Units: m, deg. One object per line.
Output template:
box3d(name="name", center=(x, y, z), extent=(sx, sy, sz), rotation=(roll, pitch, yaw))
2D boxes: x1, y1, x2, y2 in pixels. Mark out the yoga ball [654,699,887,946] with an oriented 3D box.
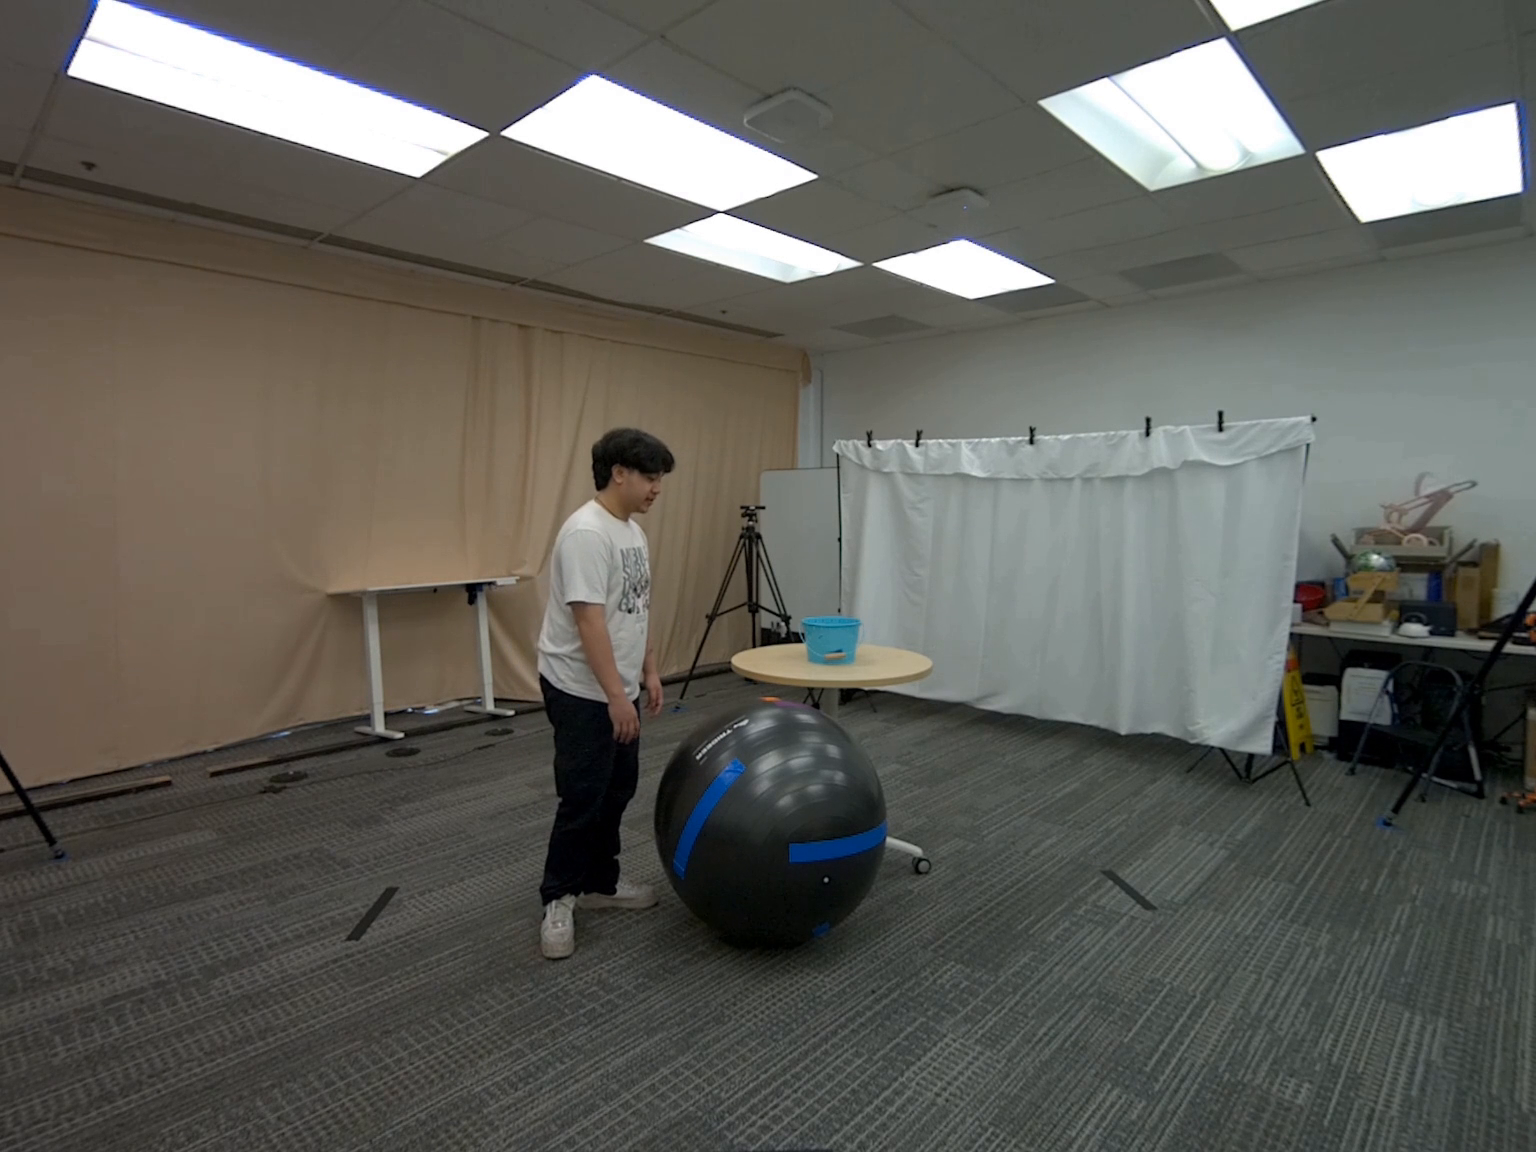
box3d(name="yoga ball", center=(0.012, 0.791, 2.750), extent=(0.757, 0.756, 0.761), rotation=(0, 4, -2))
